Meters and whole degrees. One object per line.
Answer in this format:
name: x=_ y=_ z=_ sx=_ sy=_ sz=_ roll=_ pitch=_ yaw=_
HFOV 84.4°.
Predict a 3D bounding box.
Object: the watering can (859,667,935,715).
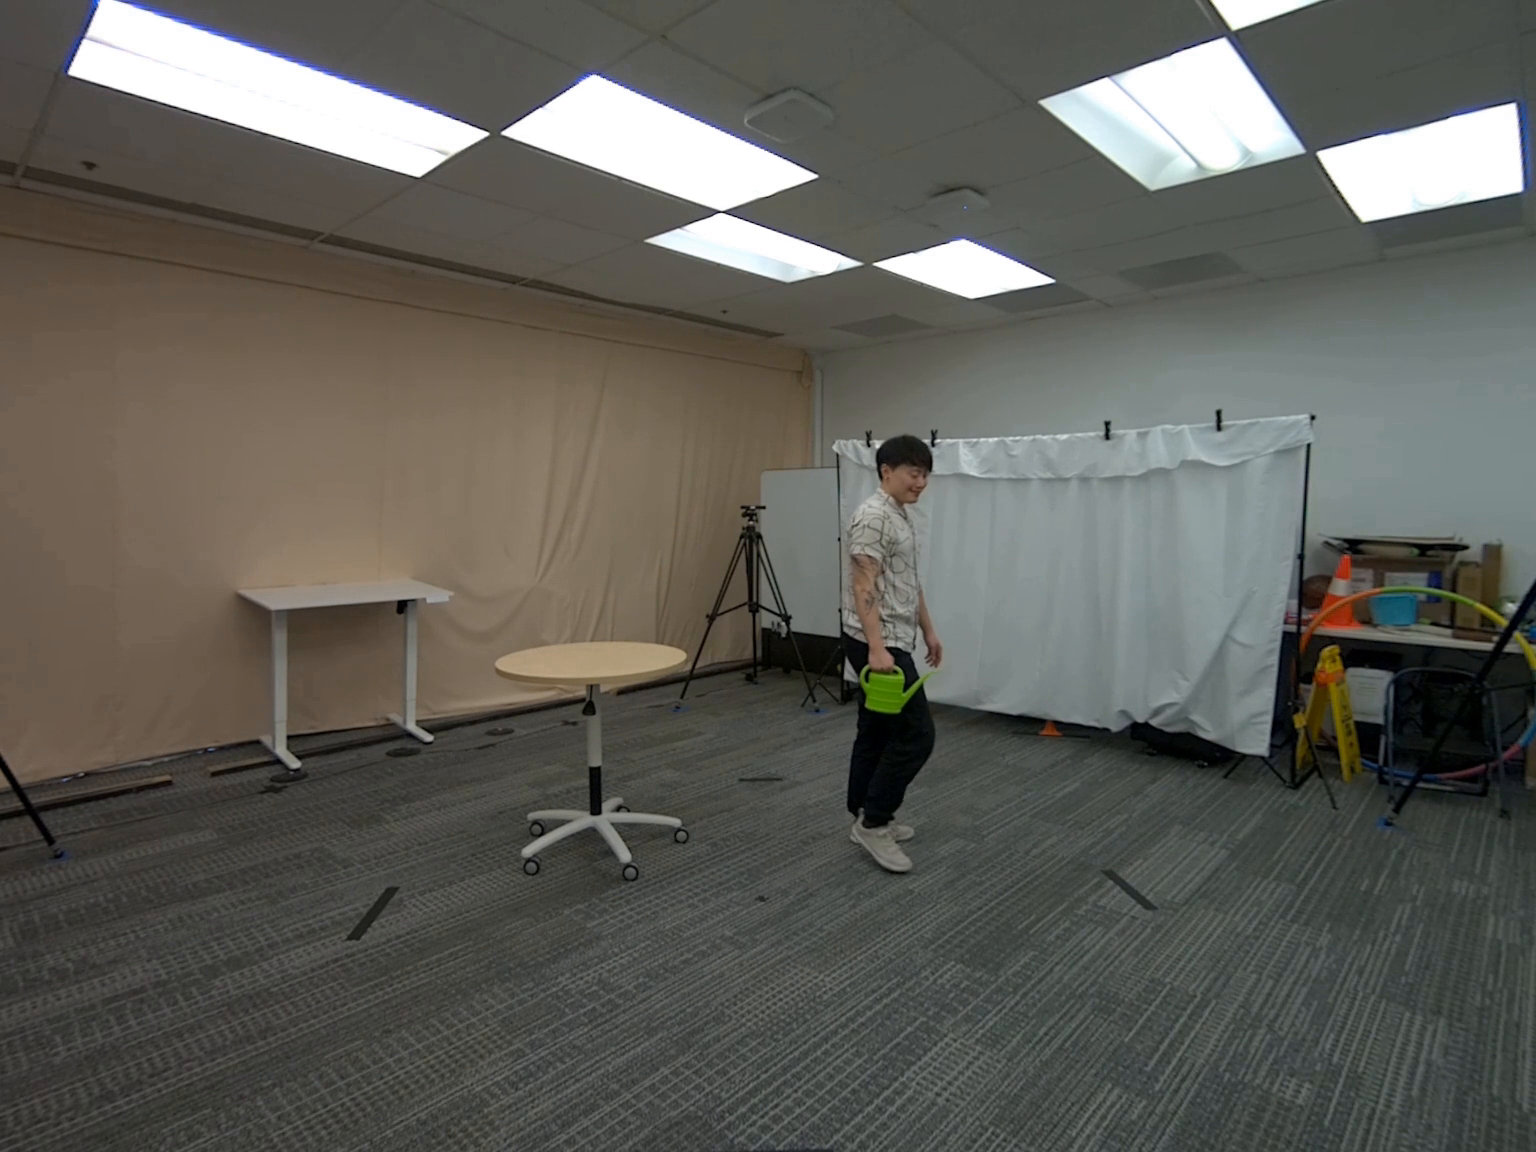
watering can: x=0.482 y=0.416 z=3.094 sx=0.284 sy=0.176 sz=0.096 roll=8 pitch=5 yaw=17
